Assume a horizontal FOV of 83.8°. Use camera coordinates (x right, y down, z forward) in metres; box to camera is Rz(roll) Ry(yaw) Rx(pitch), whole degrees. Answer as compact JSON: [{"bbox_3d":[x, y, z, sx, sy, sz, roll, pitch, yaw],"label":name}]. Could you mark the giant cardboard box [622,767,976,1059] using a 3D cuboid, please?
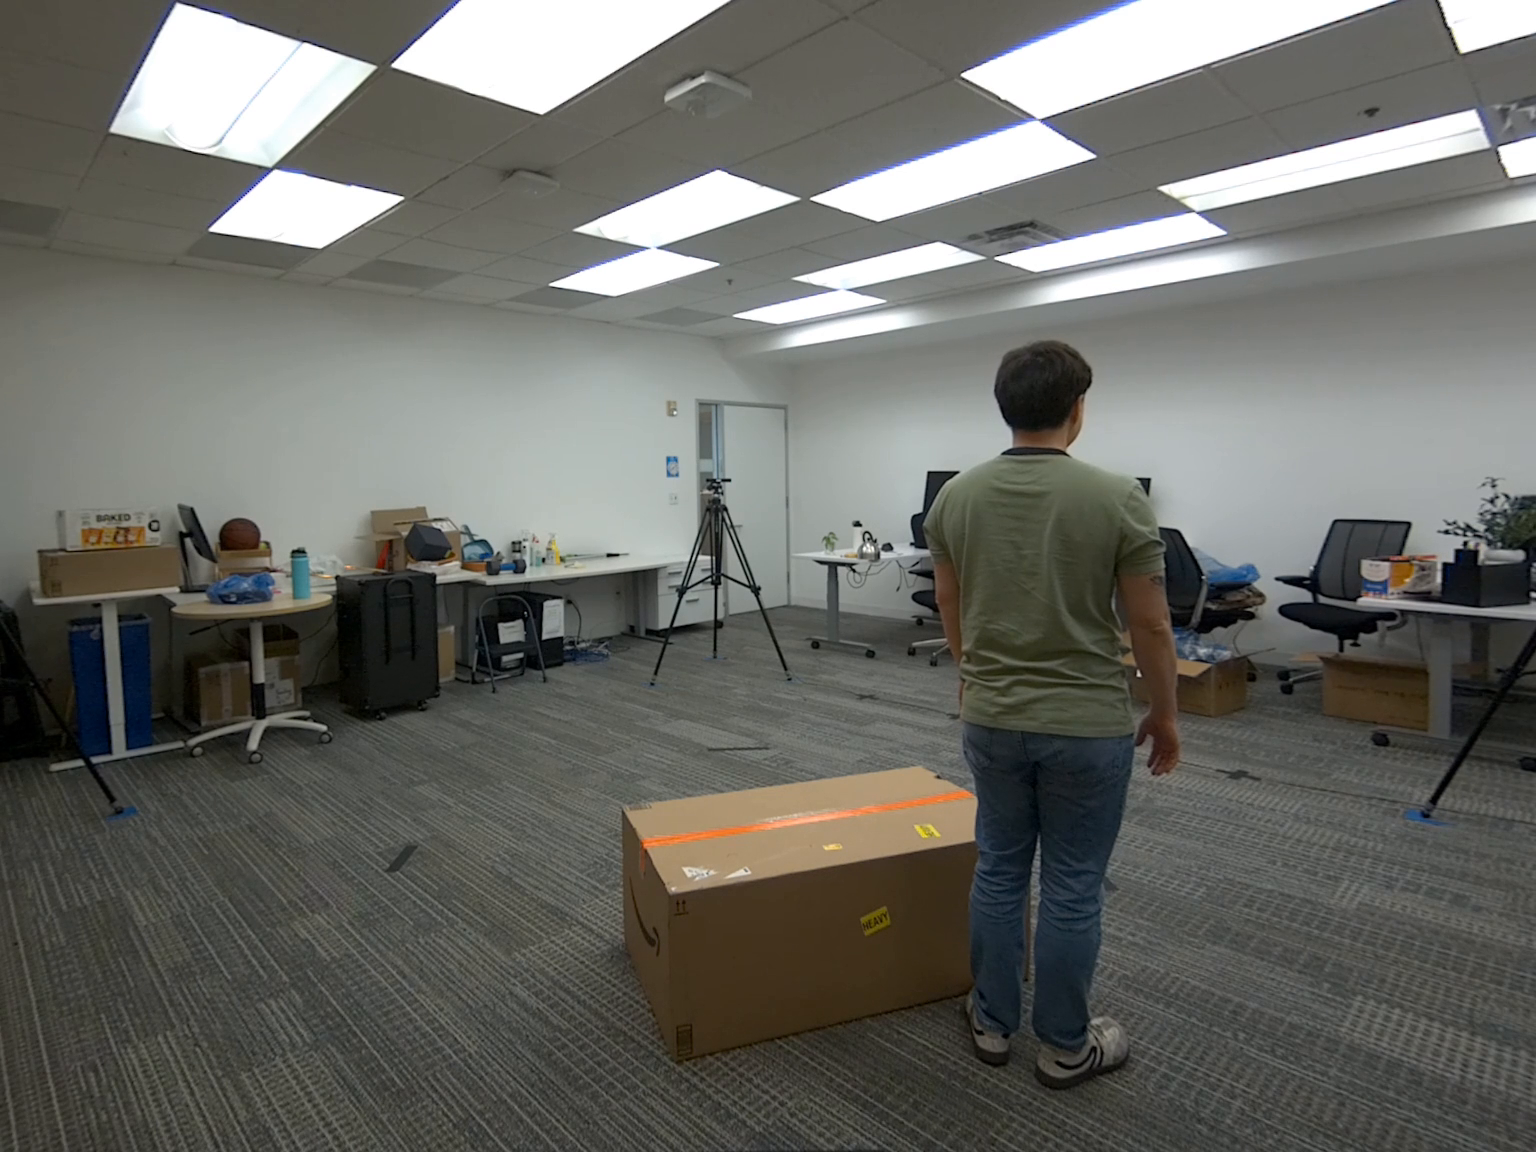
[{"bbox_3d":[0.141,0.898,2.464,1.009,0.424,0.590,-3,7,-19],"label":"giant cardboard box"}]
